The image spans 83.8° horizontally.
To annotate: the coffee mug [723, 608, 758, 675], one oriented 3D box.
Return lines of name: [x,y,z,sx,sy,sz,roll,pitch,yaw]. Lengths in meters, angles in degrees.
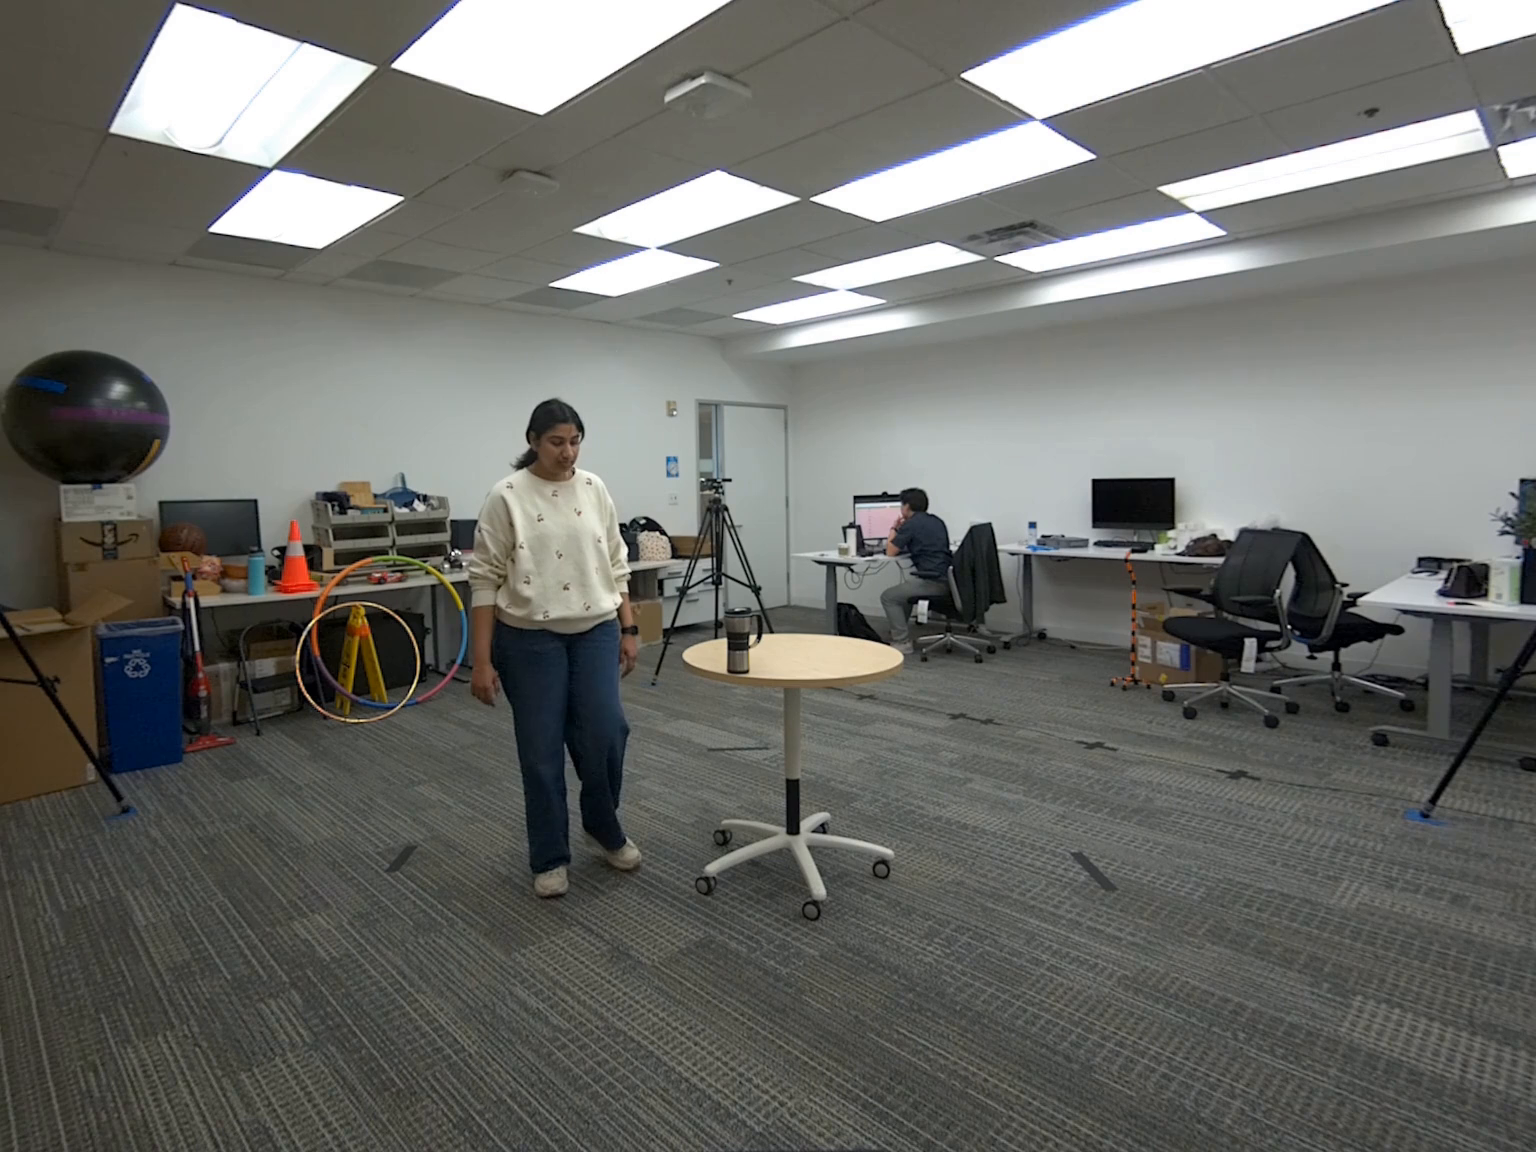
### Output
coffee mug: [-0.073,0.204,2.693,0.123,0.203,0.087,-3,-1,8]
